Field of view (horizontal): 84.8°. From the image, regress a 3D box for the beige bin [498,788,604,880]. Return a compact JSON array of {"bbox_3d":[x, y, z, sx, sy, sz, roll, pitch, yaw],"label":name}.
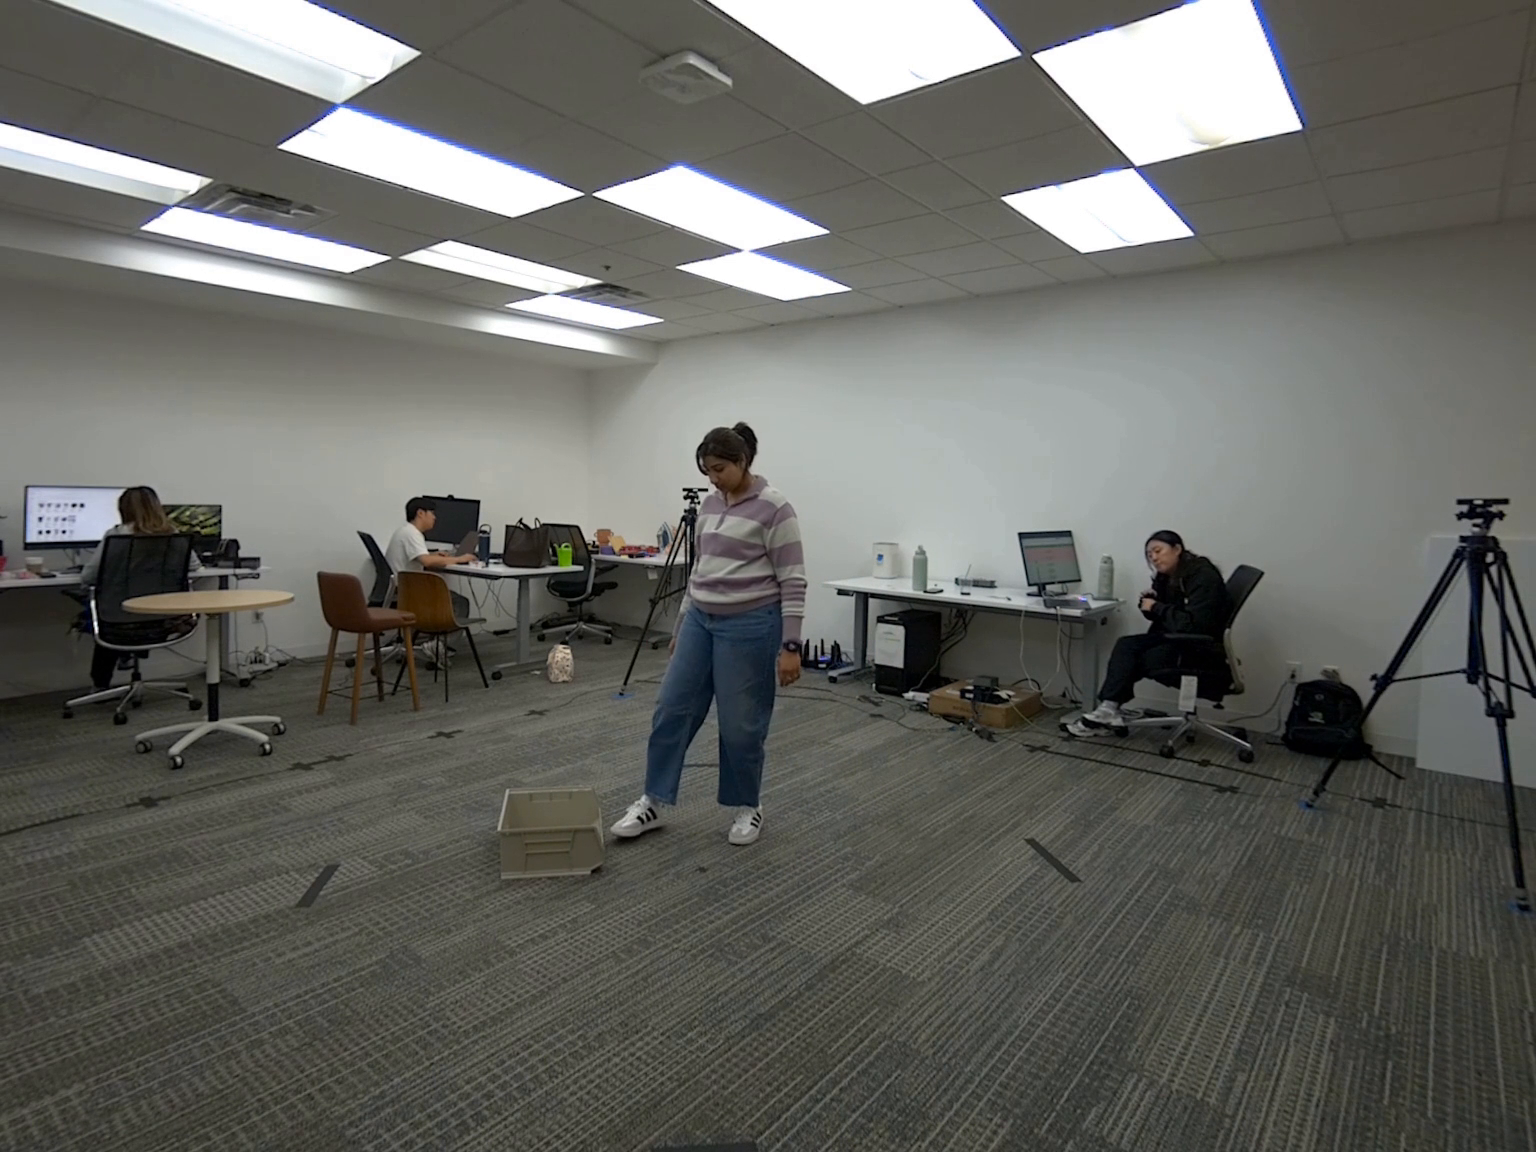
[{"bbox_3d":[-0.828,0.961,3.220,0.373,0.188,0.429,-1,5,-12],"label":"beige bin"}]
